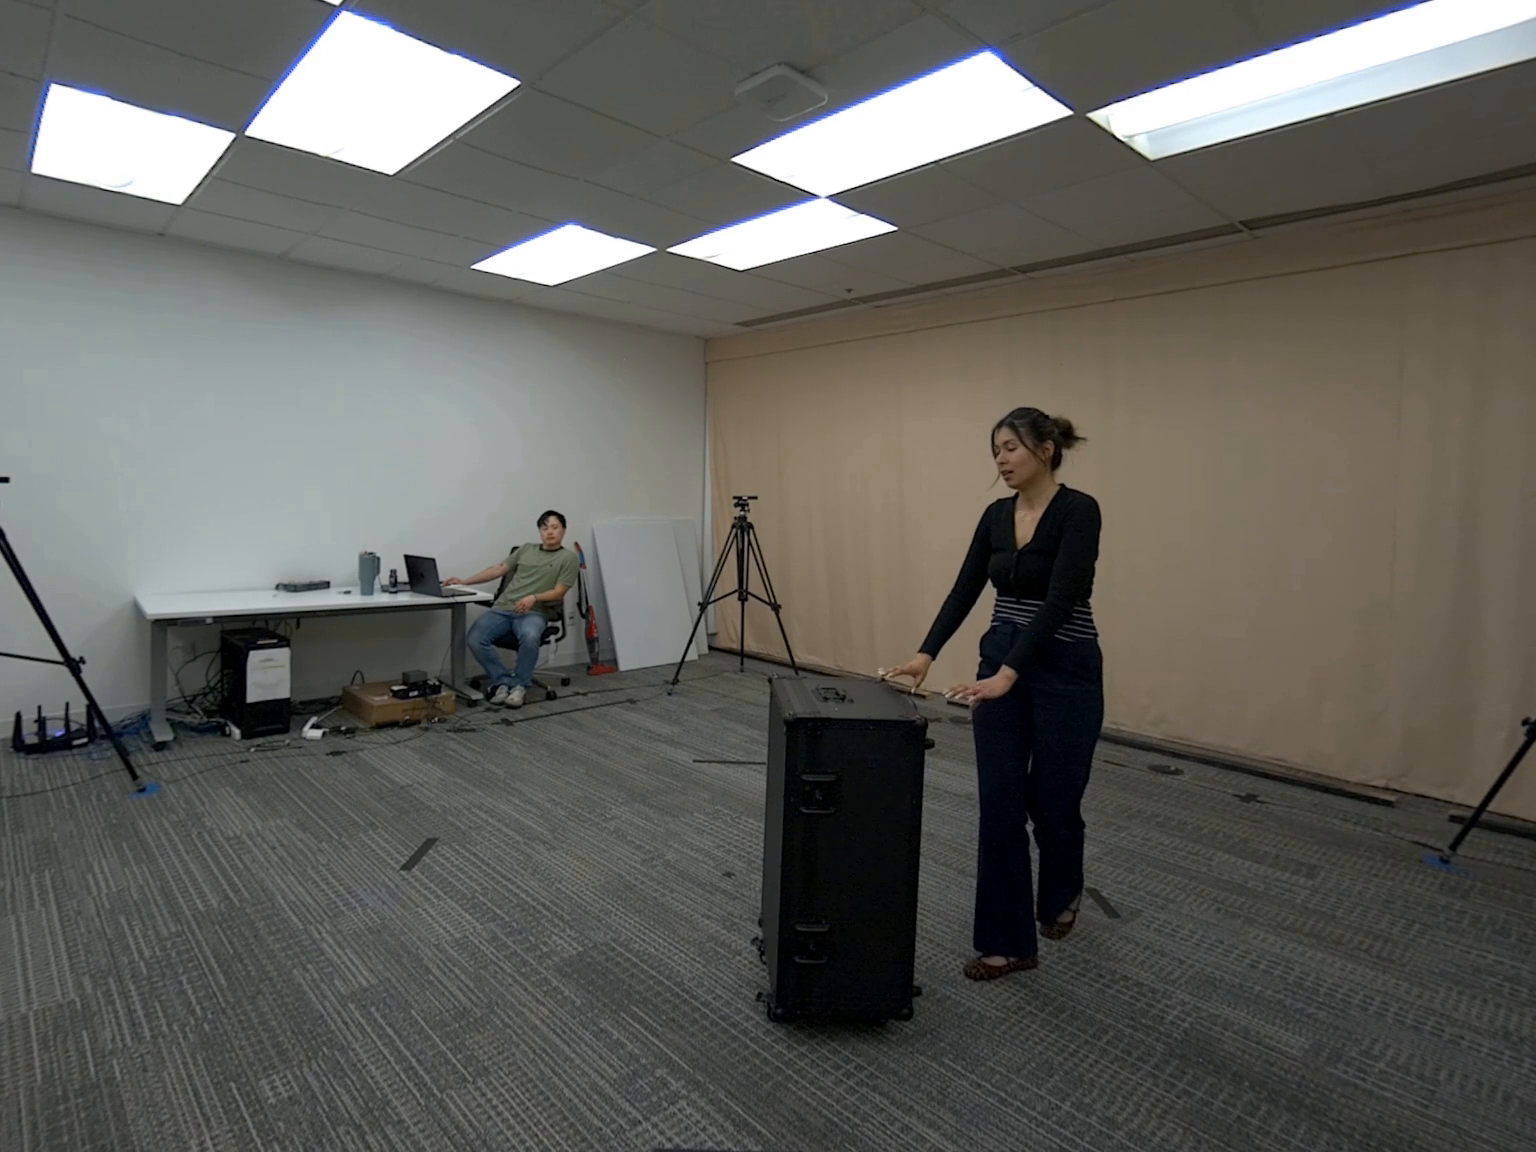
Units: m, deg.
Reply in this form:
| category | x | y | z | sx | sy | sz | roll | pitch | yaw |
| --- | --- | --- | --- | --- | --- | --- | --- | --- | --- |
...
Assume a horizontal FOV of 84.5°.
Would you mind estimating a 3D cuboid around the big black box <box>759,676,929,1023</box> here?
| category | x | y | z | sx | sy | sz | roll | pitch | yaw |
| --- | --- | --- | --- | --- | --- | --- | --- | --- | --- |
| big black box | 0.187 | 0.758 | 2.348 | 0.394 | 0.859 | 0.525 | 2 | 3 | -6 |
